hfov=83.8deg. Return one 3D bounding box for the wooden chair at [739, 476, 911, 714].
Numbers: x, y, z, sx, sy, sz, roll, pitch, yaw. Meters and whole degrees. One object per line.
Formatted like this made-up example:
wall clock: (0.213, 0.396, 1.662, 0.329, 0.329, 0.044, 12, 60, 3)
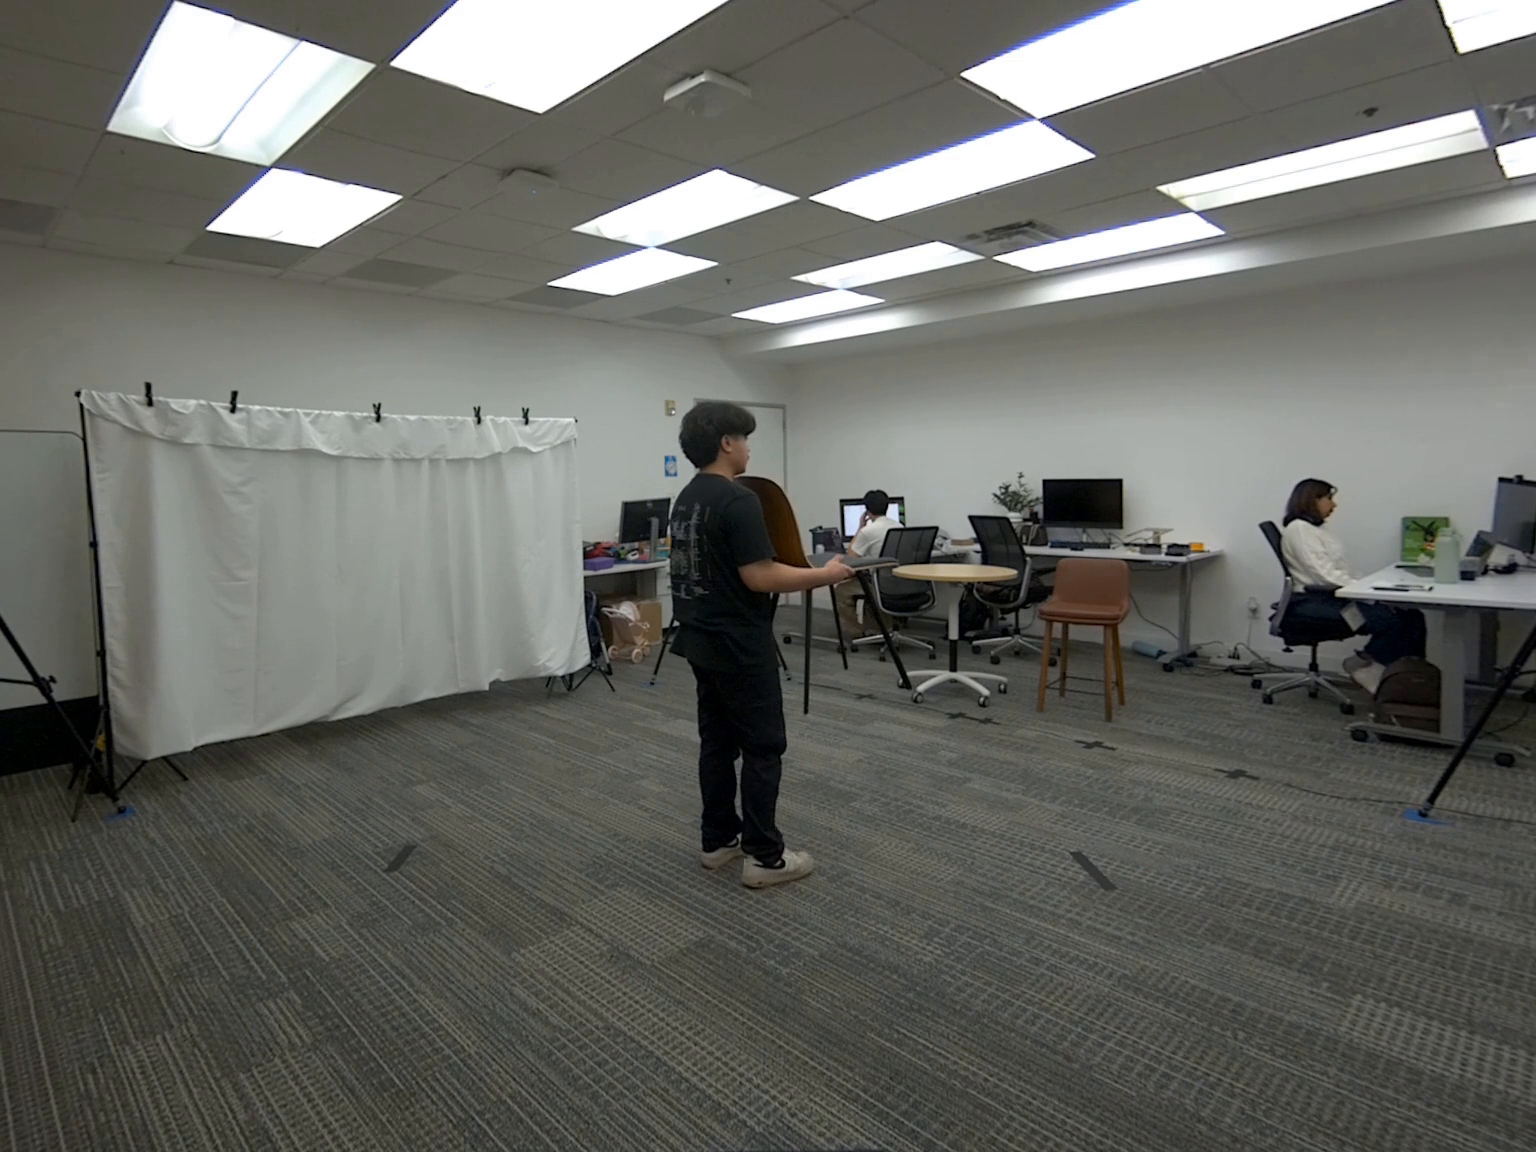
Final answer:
wooden chair: (0.193, 0.014, 3.223, 0.514, 0.873, 0.489, -12, 6, -24)
